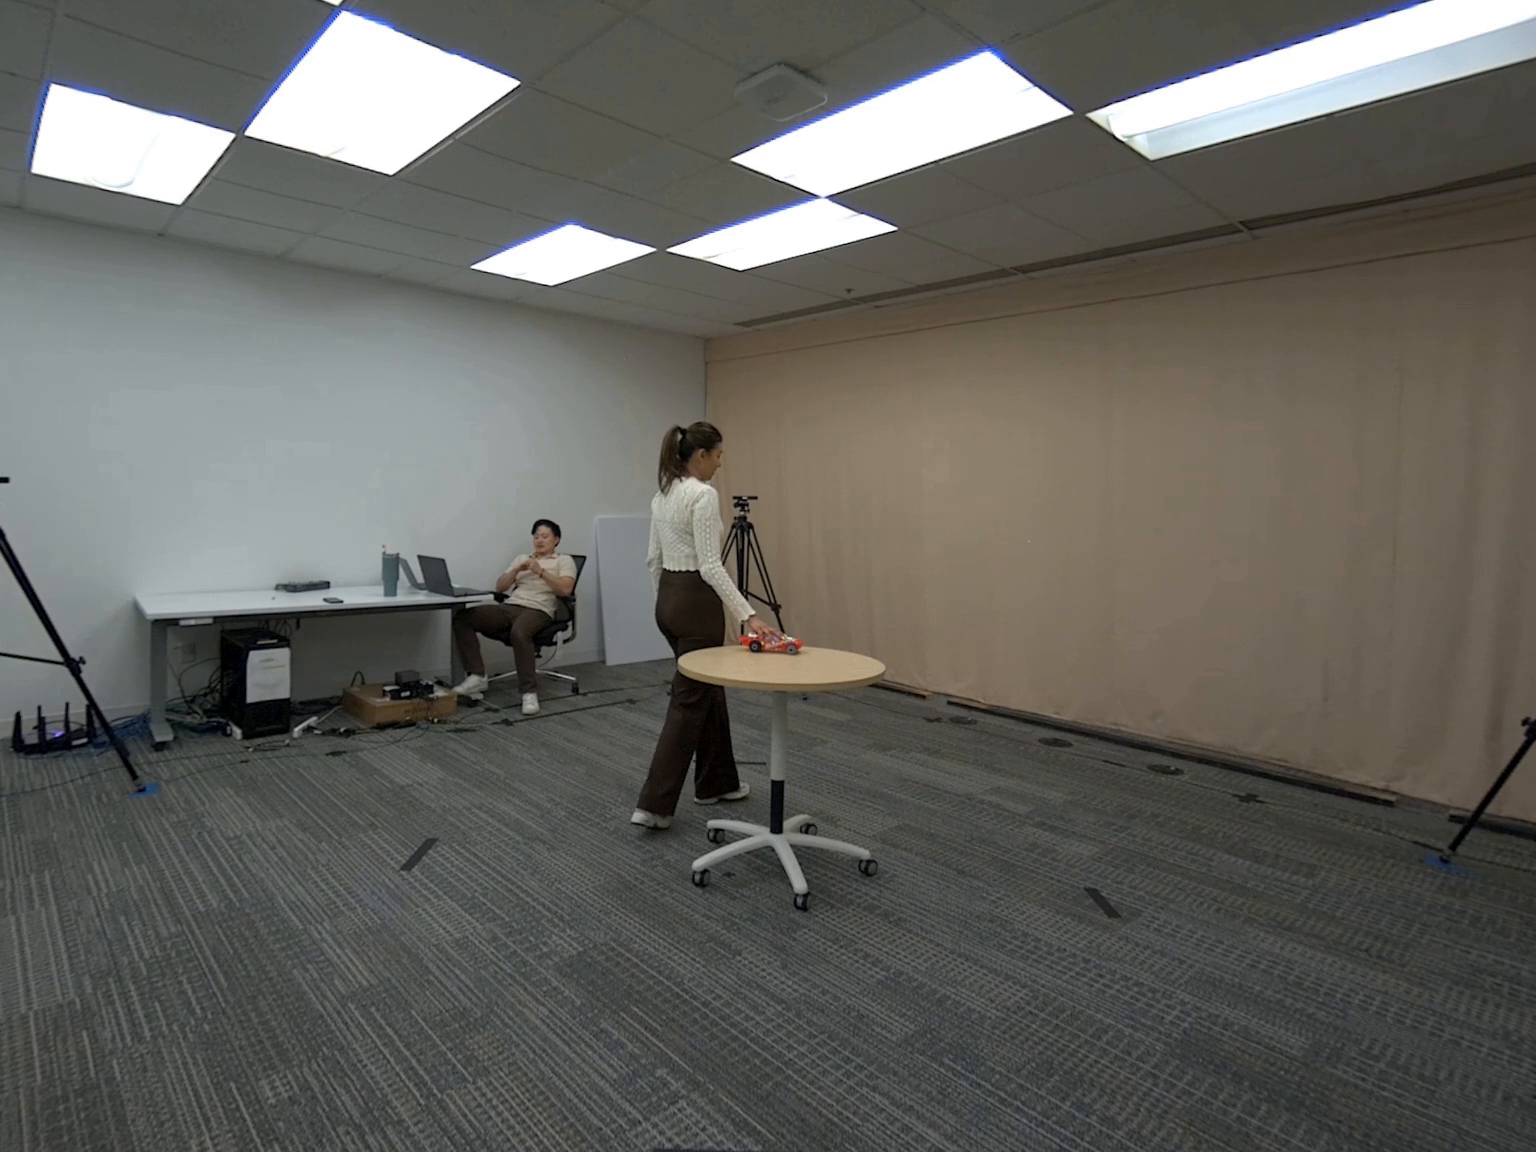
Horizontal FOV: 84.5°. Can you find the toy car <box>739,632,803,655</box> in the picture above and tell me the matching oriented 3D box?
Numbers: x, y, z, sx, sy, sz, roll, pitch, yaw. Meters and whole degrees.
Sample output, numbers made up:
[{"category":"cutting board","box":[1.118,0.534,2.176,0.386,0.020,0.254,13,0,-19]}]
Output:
[{"category":"toy car","box":[-0.003,0.265,3.356,0.257,0.083,0.129,14,6,10]}]
